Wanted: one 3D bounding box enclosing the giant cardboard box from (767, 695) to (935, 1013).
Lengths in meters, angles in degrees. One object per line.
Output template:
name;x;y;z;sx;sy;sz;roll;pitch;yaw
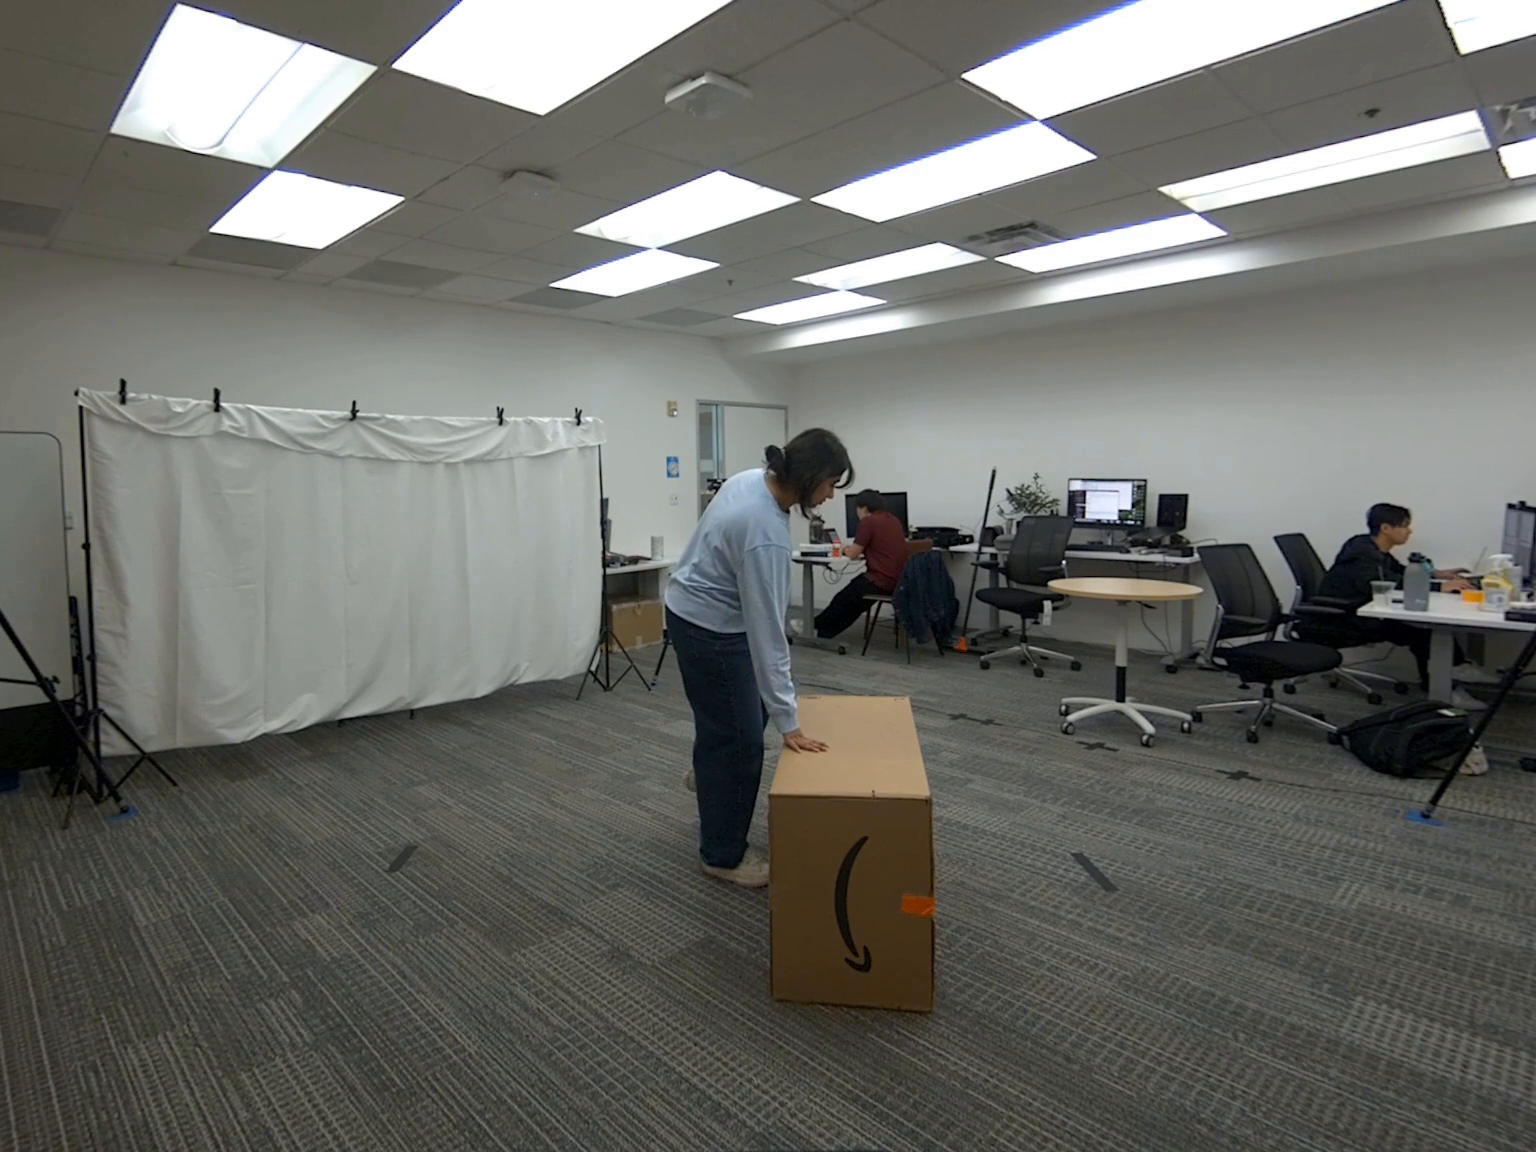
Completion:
giant cardboard box;0.278;0.792;2.726;0.429;0.575;1.022;0;5;7
